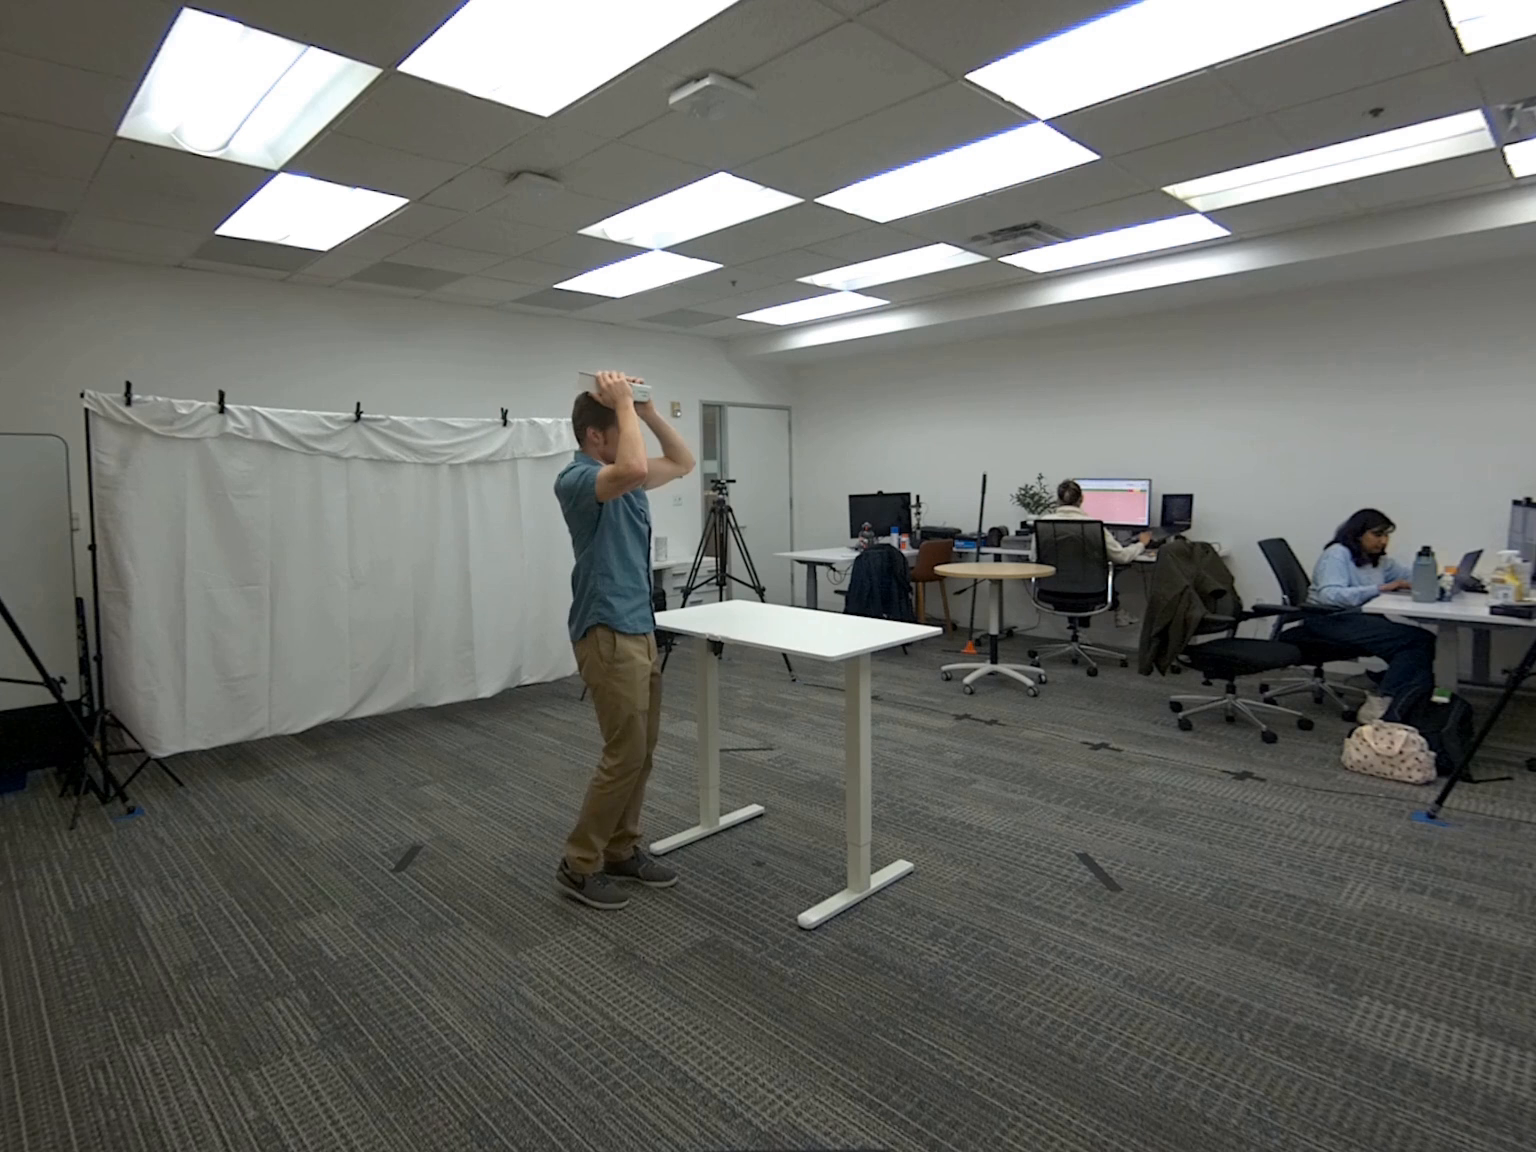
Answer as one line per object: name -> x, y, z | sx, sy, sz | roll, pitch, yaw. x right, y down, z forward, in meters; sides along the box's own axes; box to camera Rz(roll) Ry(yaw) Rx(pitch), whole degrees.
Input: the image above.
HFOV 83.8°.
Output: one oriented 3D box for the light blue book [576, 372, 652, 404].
light blue book -> -0.507, -0.626, 2.842 | 0.193, 0.058, 0.261 | 14, 11, 5
